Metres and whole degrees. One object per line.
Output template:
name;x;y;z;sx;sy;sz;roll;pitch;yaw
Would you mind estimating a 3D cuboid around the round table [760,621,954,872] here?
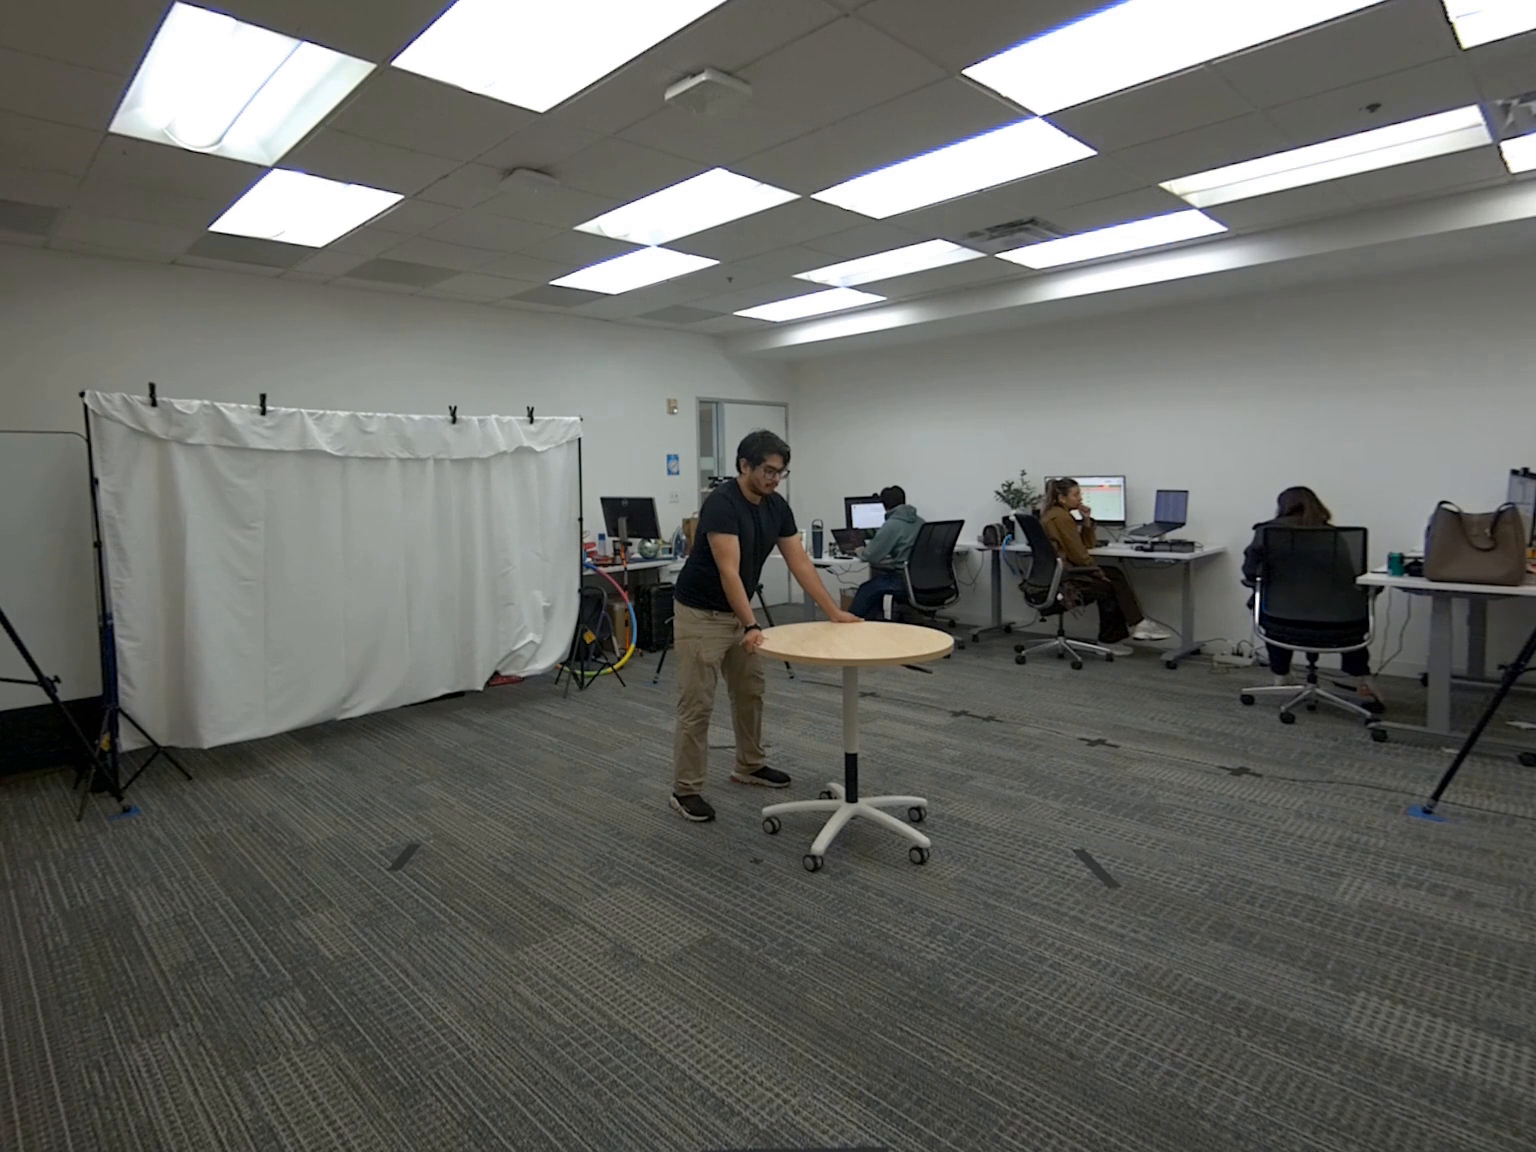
round table;0.304;0.619;3.279;0.784;0.783;0.789;-1;5;-2
